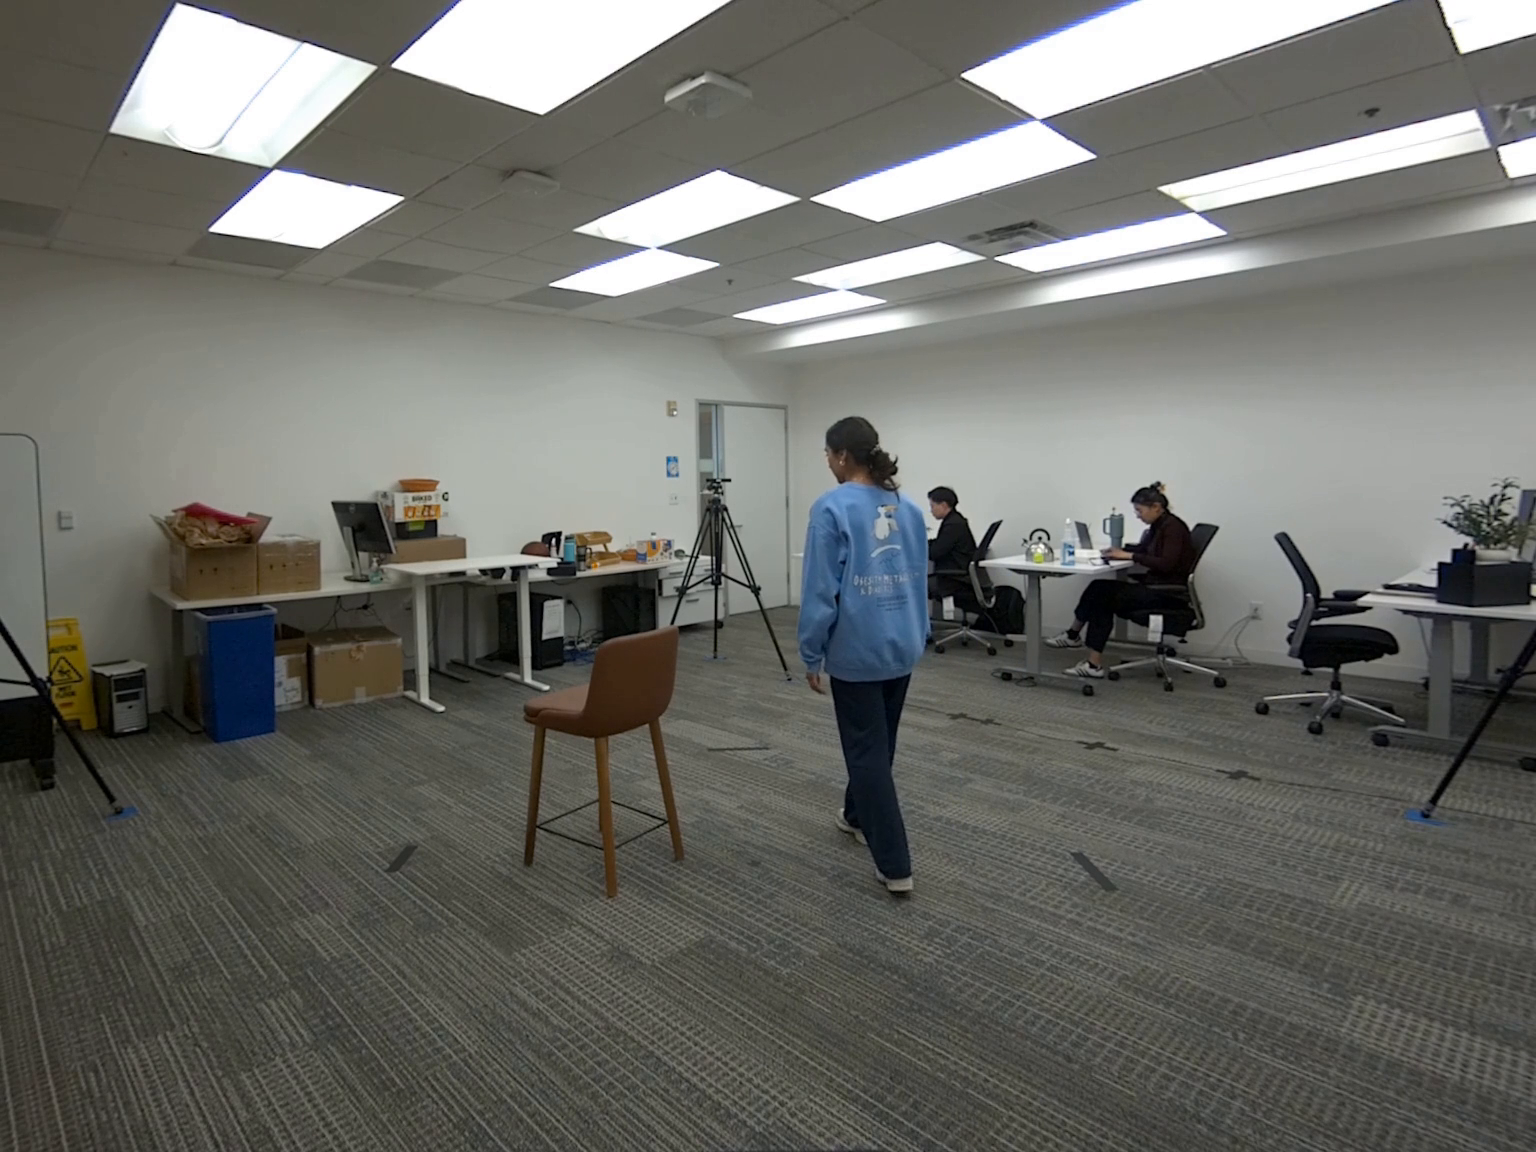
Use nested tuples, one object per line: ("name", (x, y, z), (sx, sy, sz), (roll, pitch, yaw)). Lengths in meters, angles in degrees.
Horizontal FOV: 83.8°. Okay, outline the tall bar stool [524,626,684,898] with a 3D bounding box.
("tall bar stool", (-0.599, 0.617, 3.119), (0.482, 0.886, 0.445), (4, 6, 37))
